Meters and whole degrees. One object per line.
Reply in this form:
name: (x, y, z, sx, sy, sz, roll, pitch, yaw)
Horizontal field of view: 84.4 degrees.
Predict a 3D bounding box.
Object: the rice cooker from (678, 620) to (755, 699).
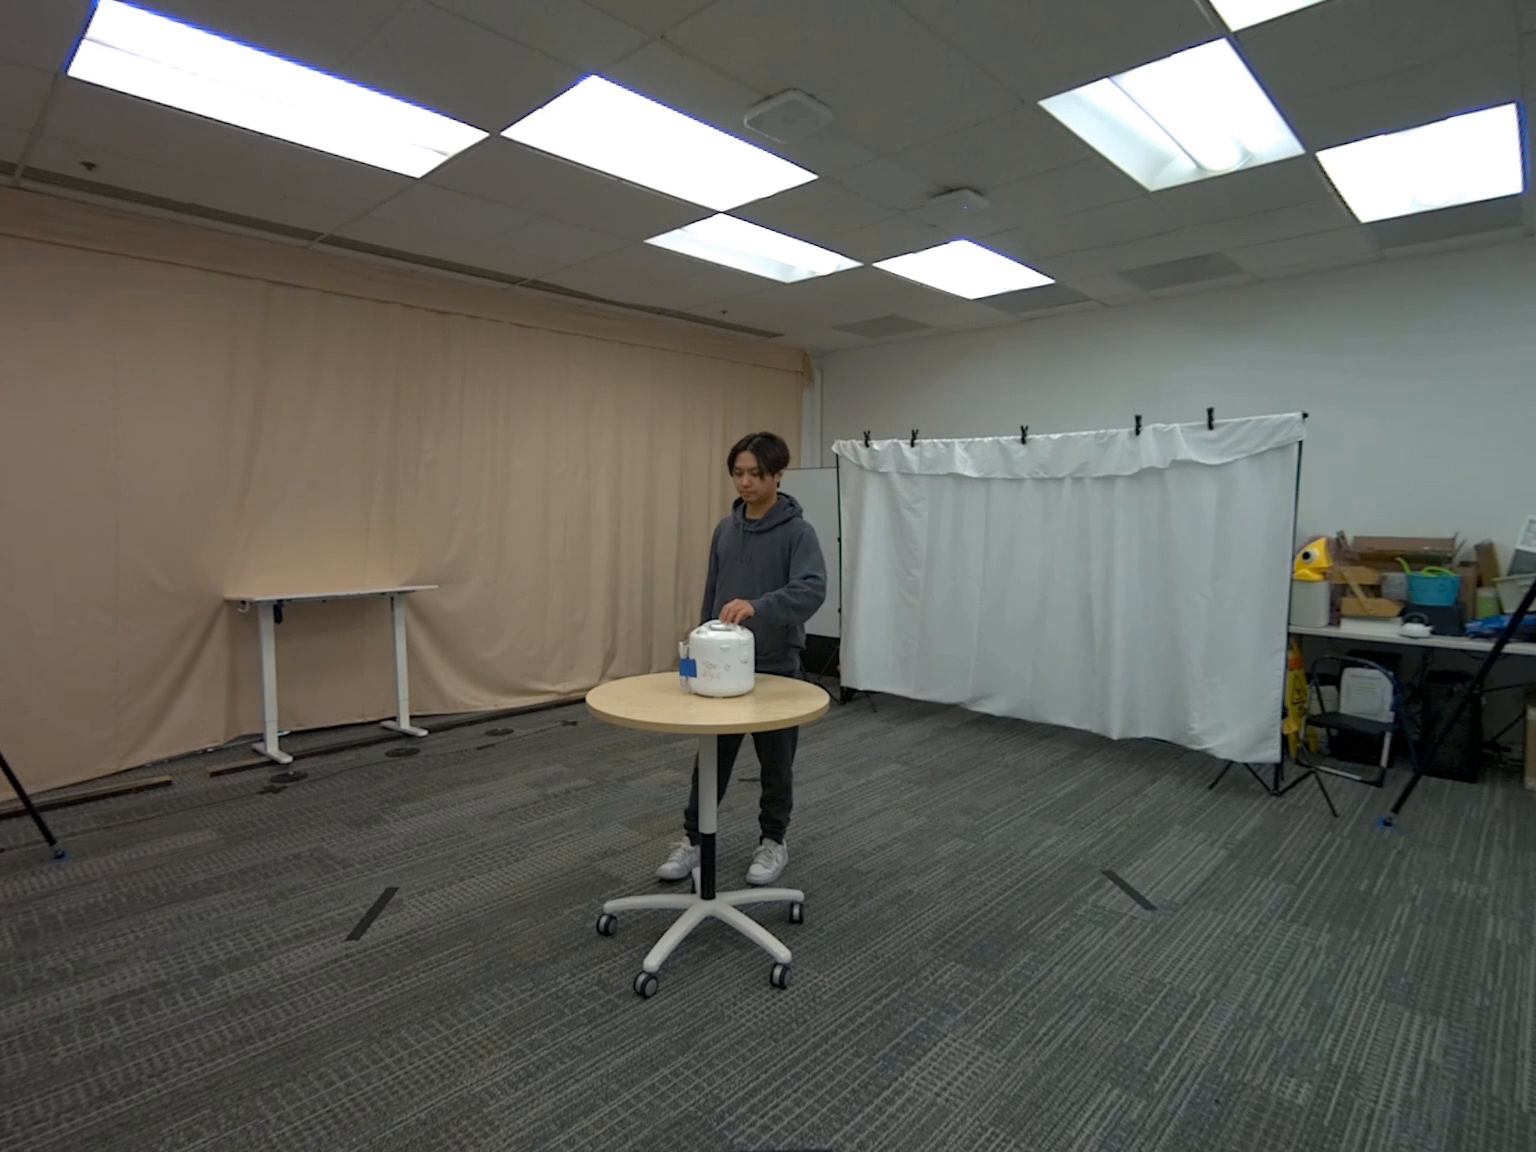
rice cooker: (-0.146, 0.255, 2.692, 0.228, 0.232, 0.211, 5, 5, 44)
